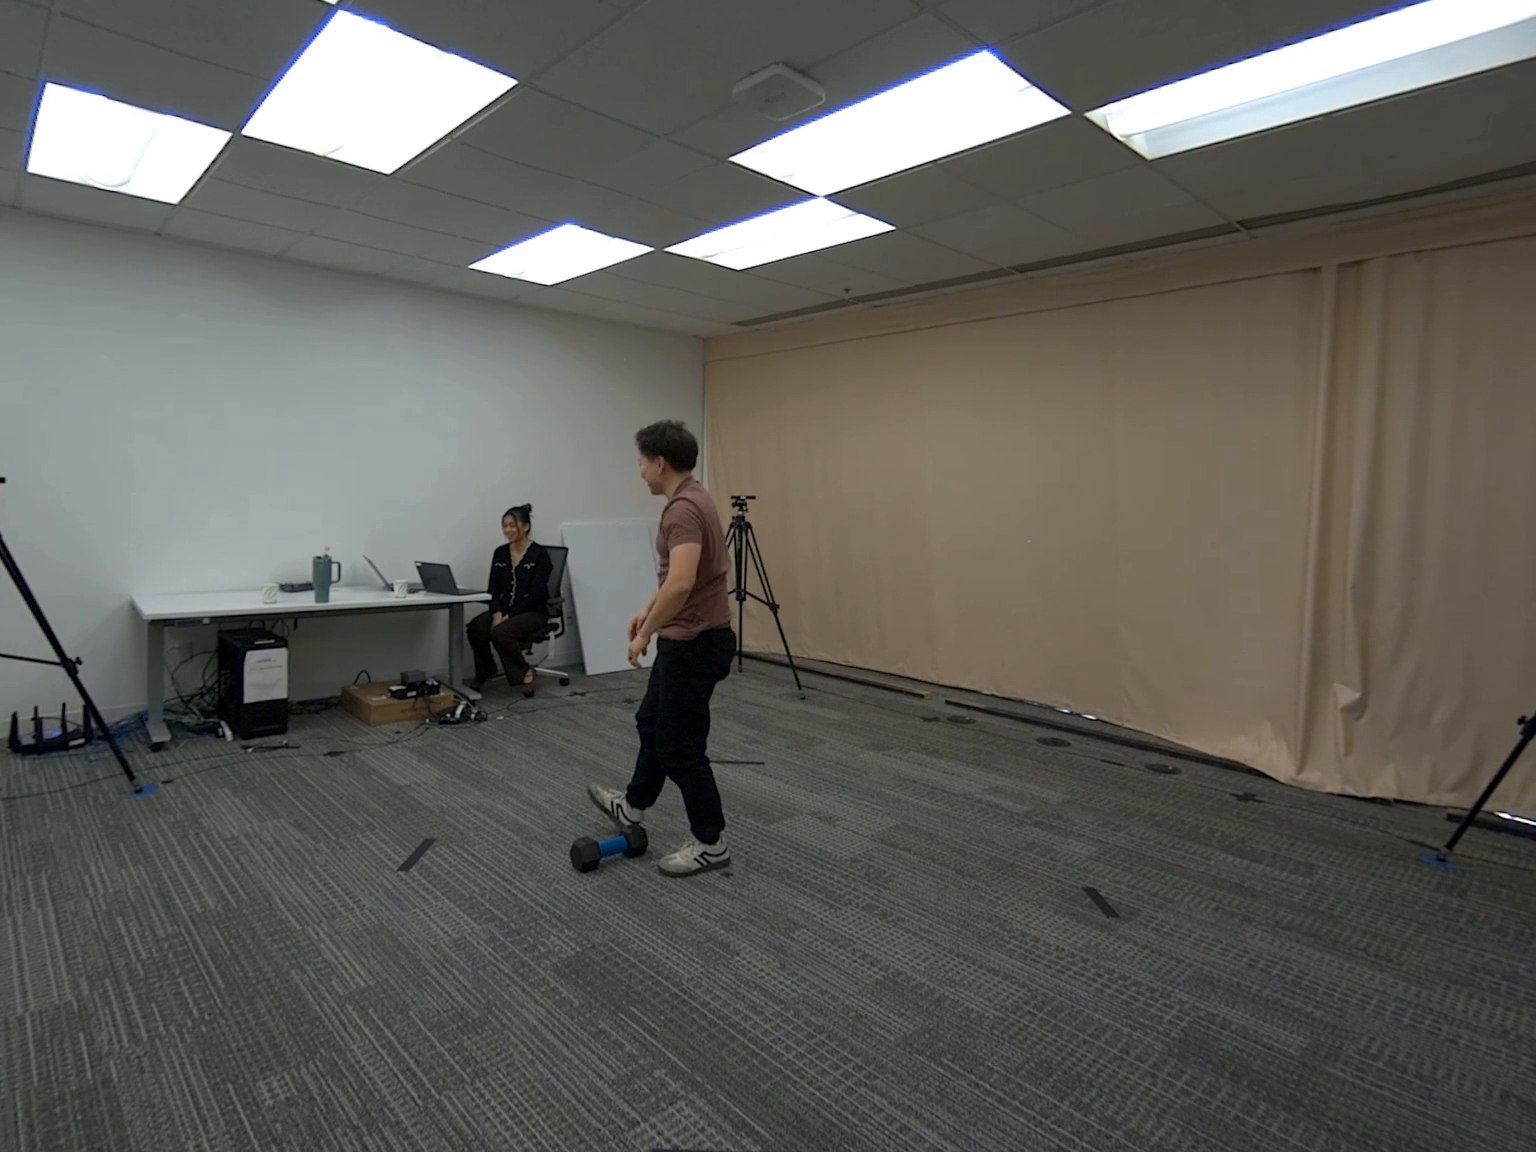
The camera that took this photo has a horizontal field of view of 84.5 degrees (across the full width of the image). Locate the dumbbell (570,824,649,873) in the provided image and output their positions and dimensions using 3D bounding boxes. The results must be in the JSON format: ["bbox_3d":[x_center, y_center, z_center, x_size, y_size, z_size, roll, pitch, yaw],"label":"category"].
[{"bbox_3d":[-0.613,1.032,3.191,0.287,0.125,0.109,-3,-25,-42],"label":"dumbbell"}]
